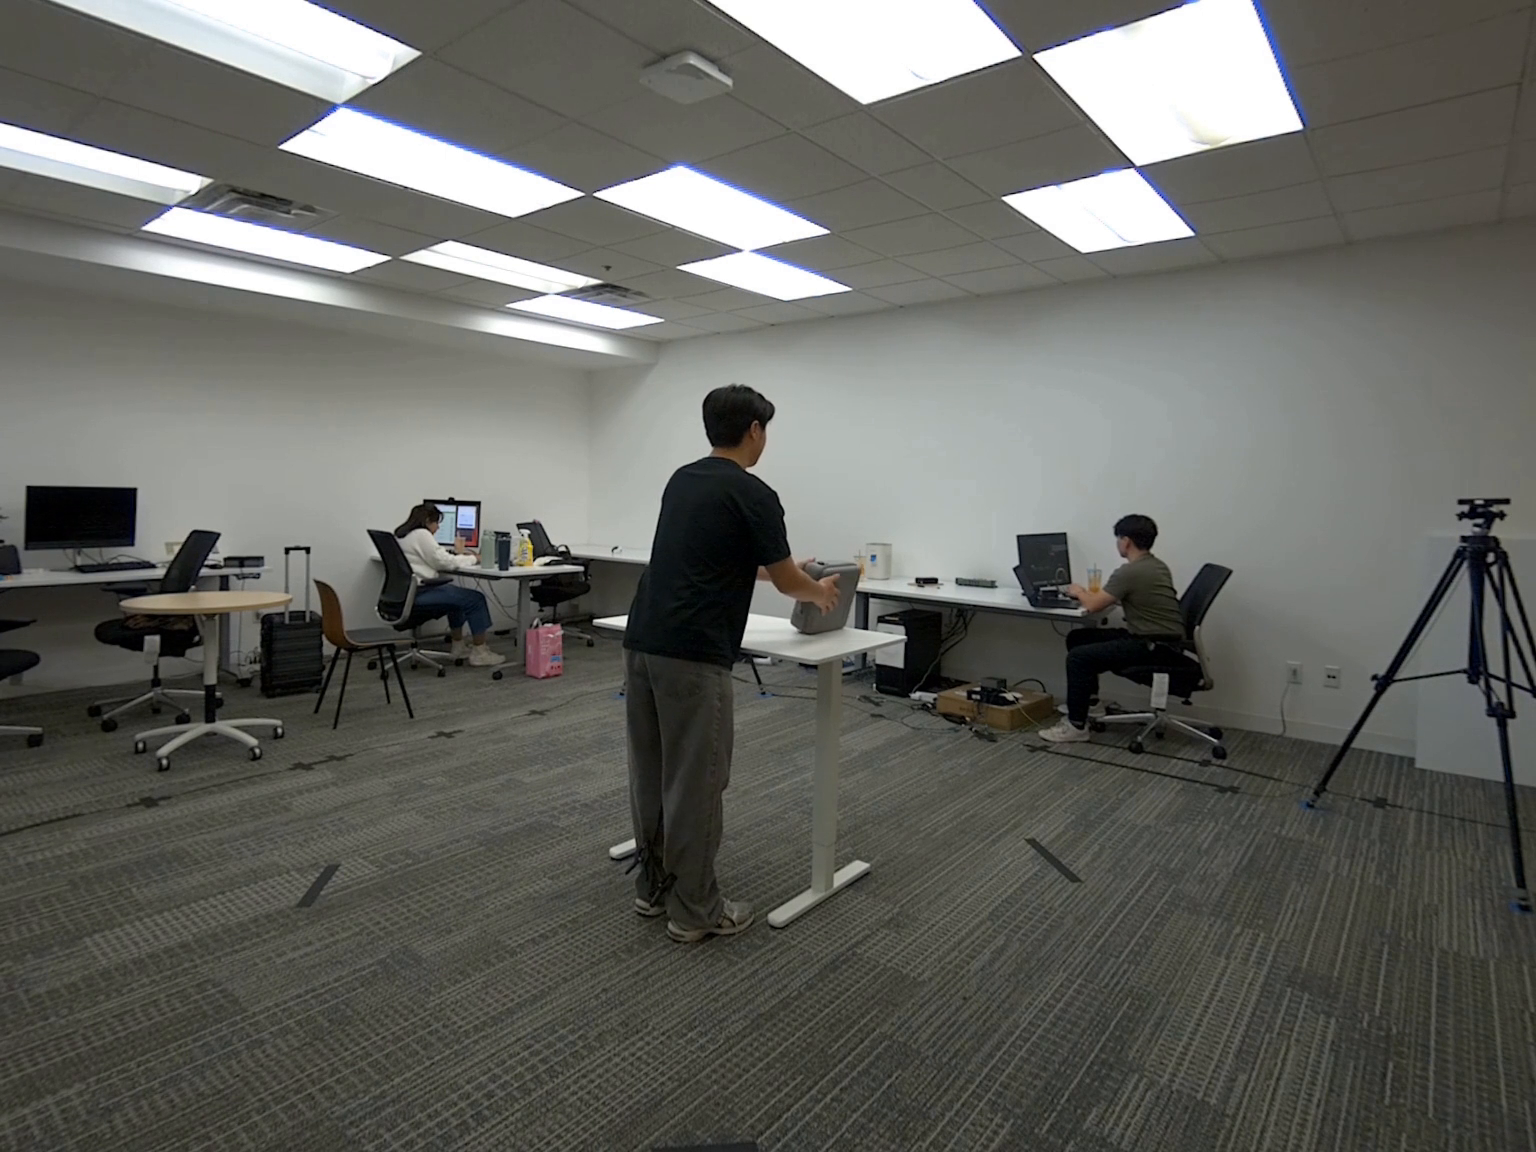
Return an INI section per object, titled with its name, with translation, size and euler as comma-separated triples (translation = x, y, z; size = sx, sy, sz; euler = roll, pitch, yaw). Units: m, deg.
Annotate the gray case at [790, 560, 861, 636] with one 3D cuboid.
[gray case]
translation = 0.199, 0.075, 3.082
size = 0.108, 0.254, 0.253
euler = 26, 19, 37
